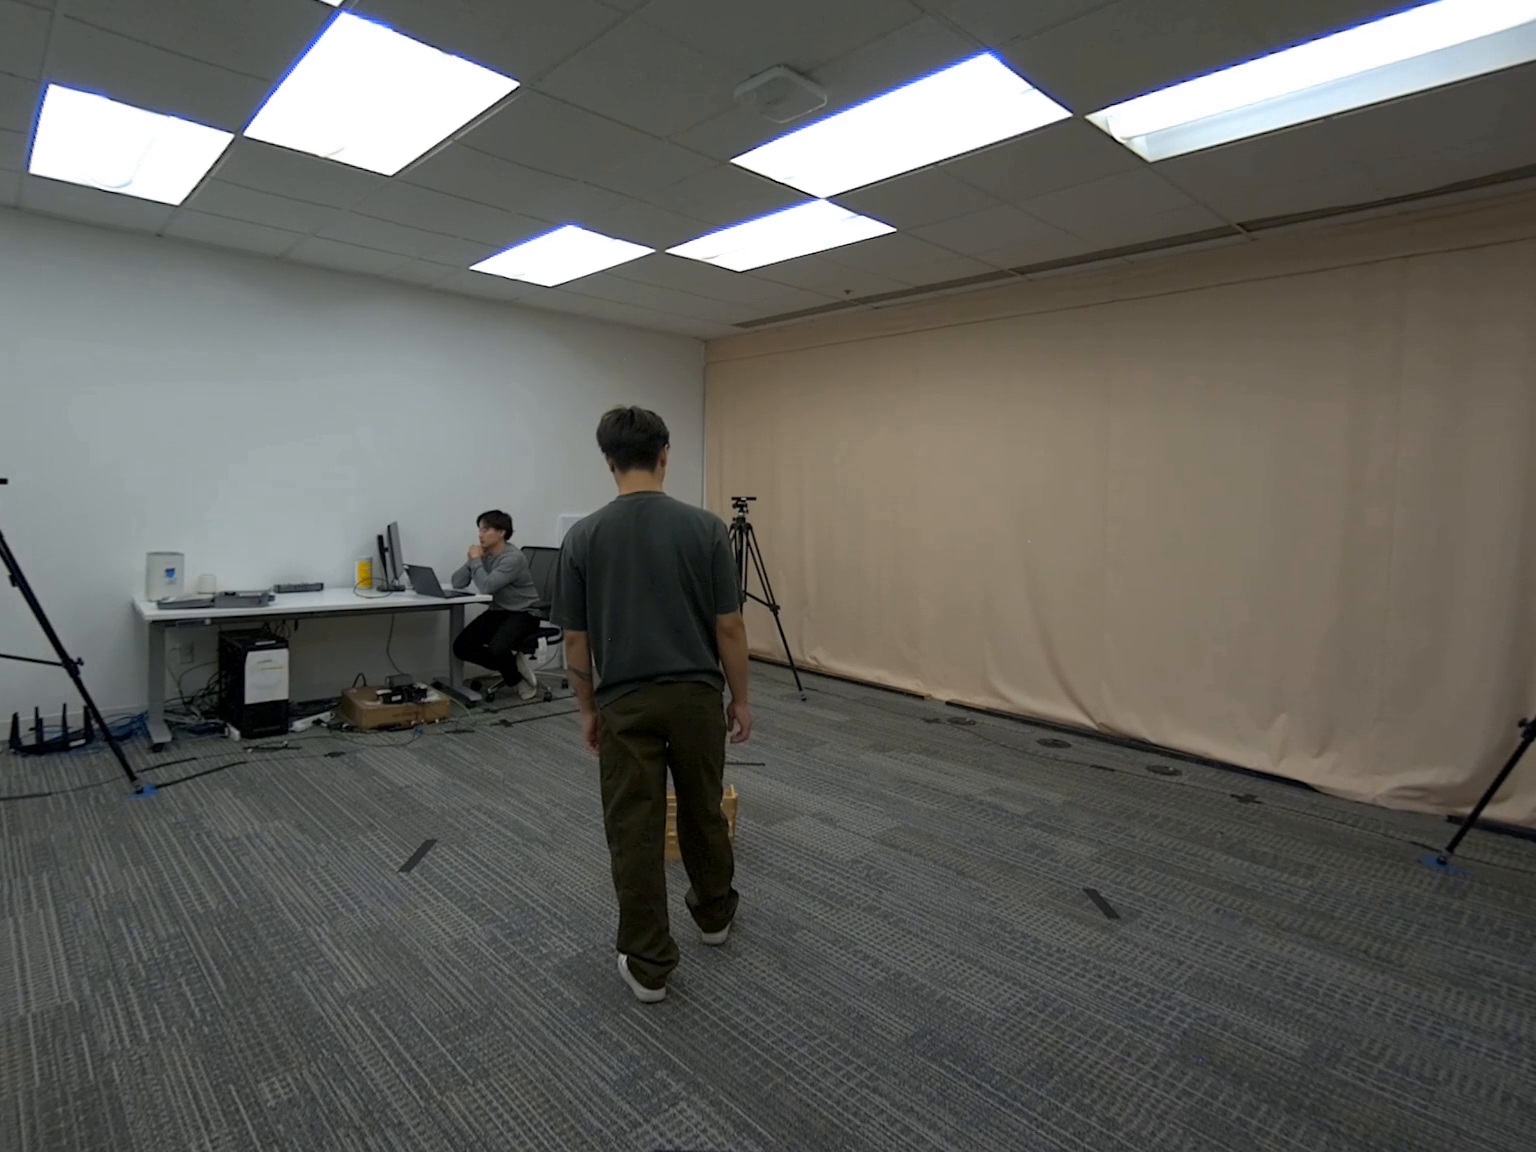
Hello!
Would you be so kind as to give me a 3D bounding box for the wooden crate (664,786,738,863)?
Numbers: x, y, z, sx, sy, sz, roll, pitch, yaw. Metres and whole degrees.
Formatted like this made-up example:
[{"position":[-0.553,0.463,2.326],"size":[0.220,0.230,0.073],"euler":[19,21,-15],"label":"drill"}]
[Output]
[{"position":[-0.297,0.947,3.333],"size":[0.323,0.272,0.304],"euler":[1,4,-6],"label":"wooden crate"}]
